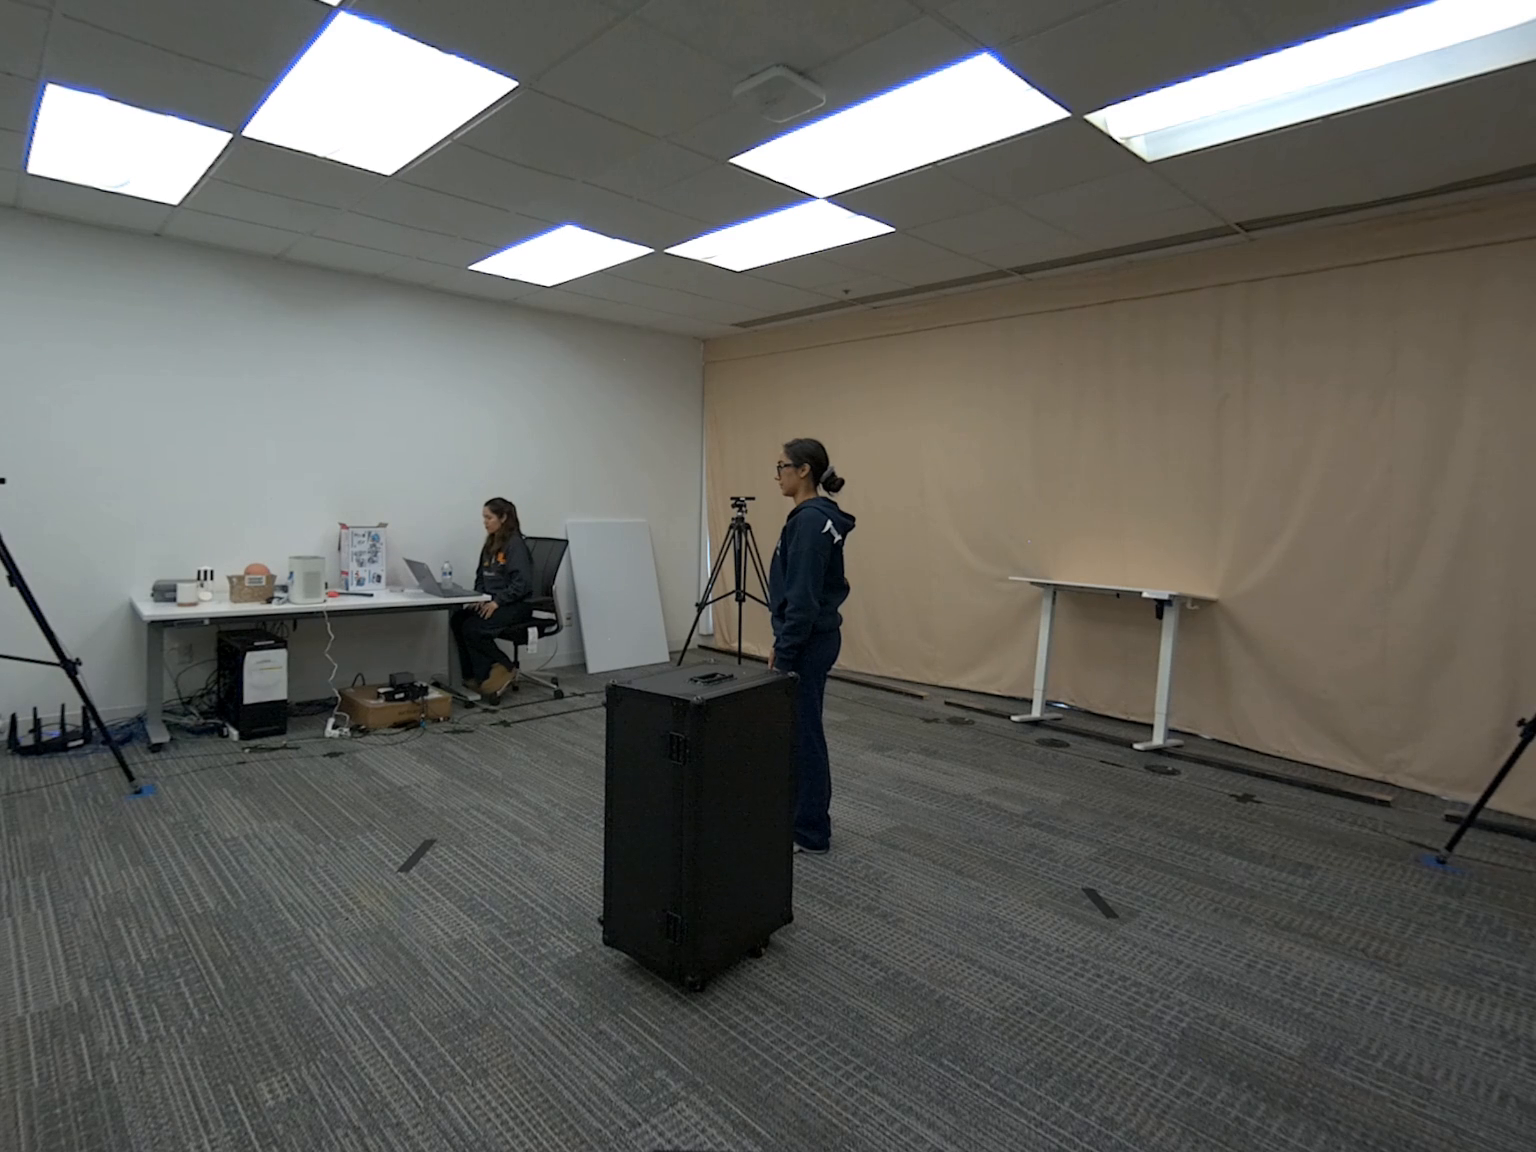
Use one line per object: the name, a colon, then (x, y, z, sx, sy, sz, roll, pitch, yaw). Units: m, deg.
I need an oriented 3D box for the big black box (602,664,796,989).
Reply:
big black box: (-0.213, 0.732, 2.540, 0.406, 0.860, 0.510, 2, 3, 37)
